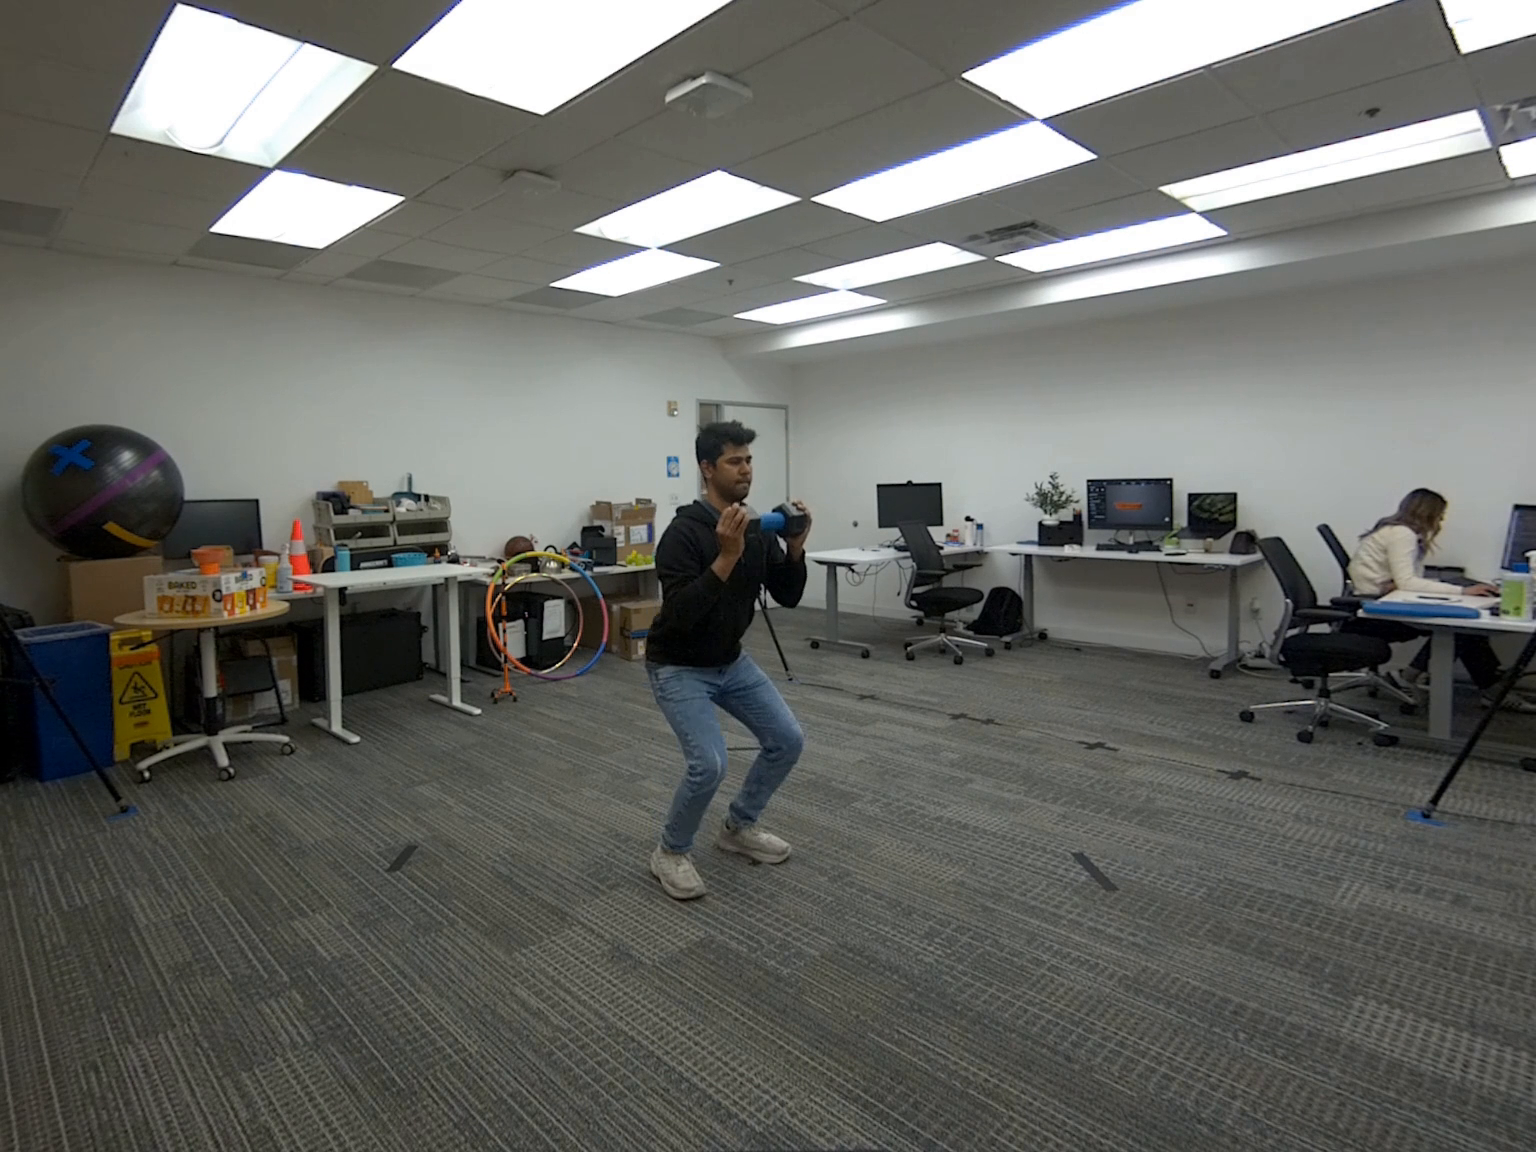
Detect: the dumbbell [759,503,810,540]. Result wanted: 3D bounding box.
[{"bbox_3d":[-0.019,-0.172,2.831,0.286,0.121,0.113,-8,19,-42],"label":"dumbbell"}]
